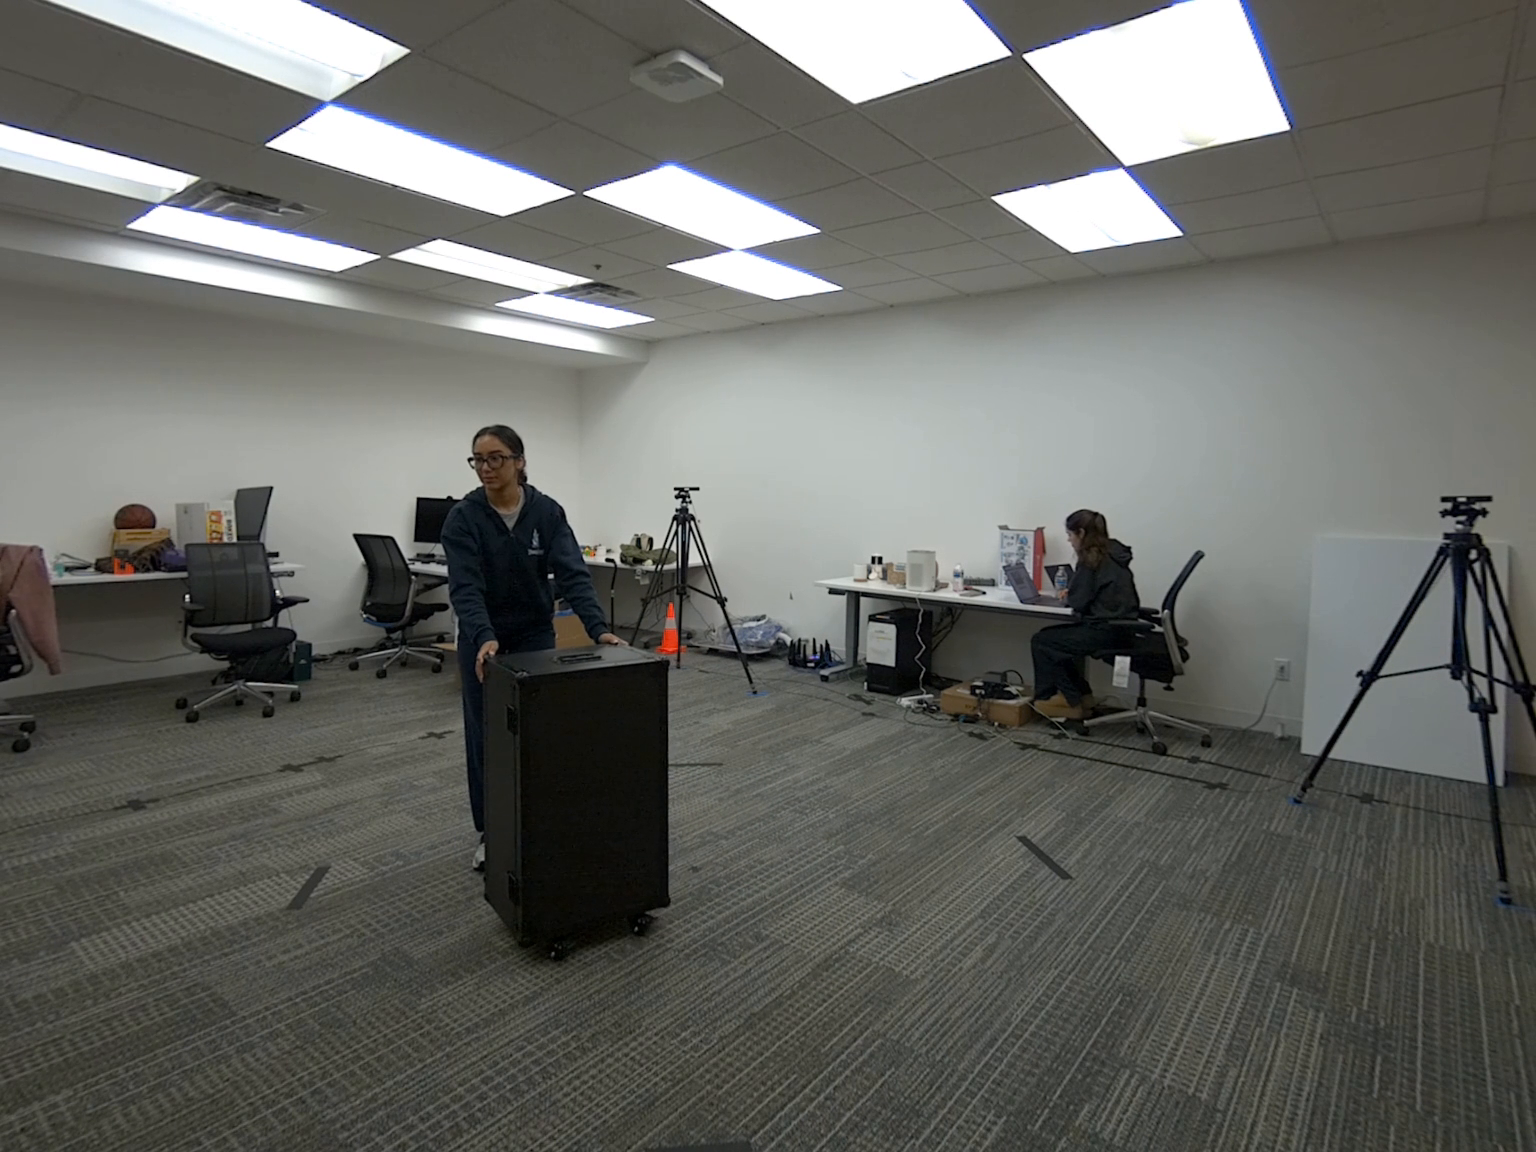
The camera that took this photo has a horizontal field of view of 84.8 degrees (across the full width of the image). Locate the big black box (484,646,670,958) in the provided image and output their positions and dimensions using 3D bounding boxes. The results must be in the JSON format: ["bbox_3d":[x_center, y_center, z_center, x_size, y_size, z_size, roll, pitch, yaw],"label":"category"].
[{"bbox_3d":[-0.625,0.678,2.682,0.507,0.860,0.408,-3,3,-34],"label":"big black box"}]
